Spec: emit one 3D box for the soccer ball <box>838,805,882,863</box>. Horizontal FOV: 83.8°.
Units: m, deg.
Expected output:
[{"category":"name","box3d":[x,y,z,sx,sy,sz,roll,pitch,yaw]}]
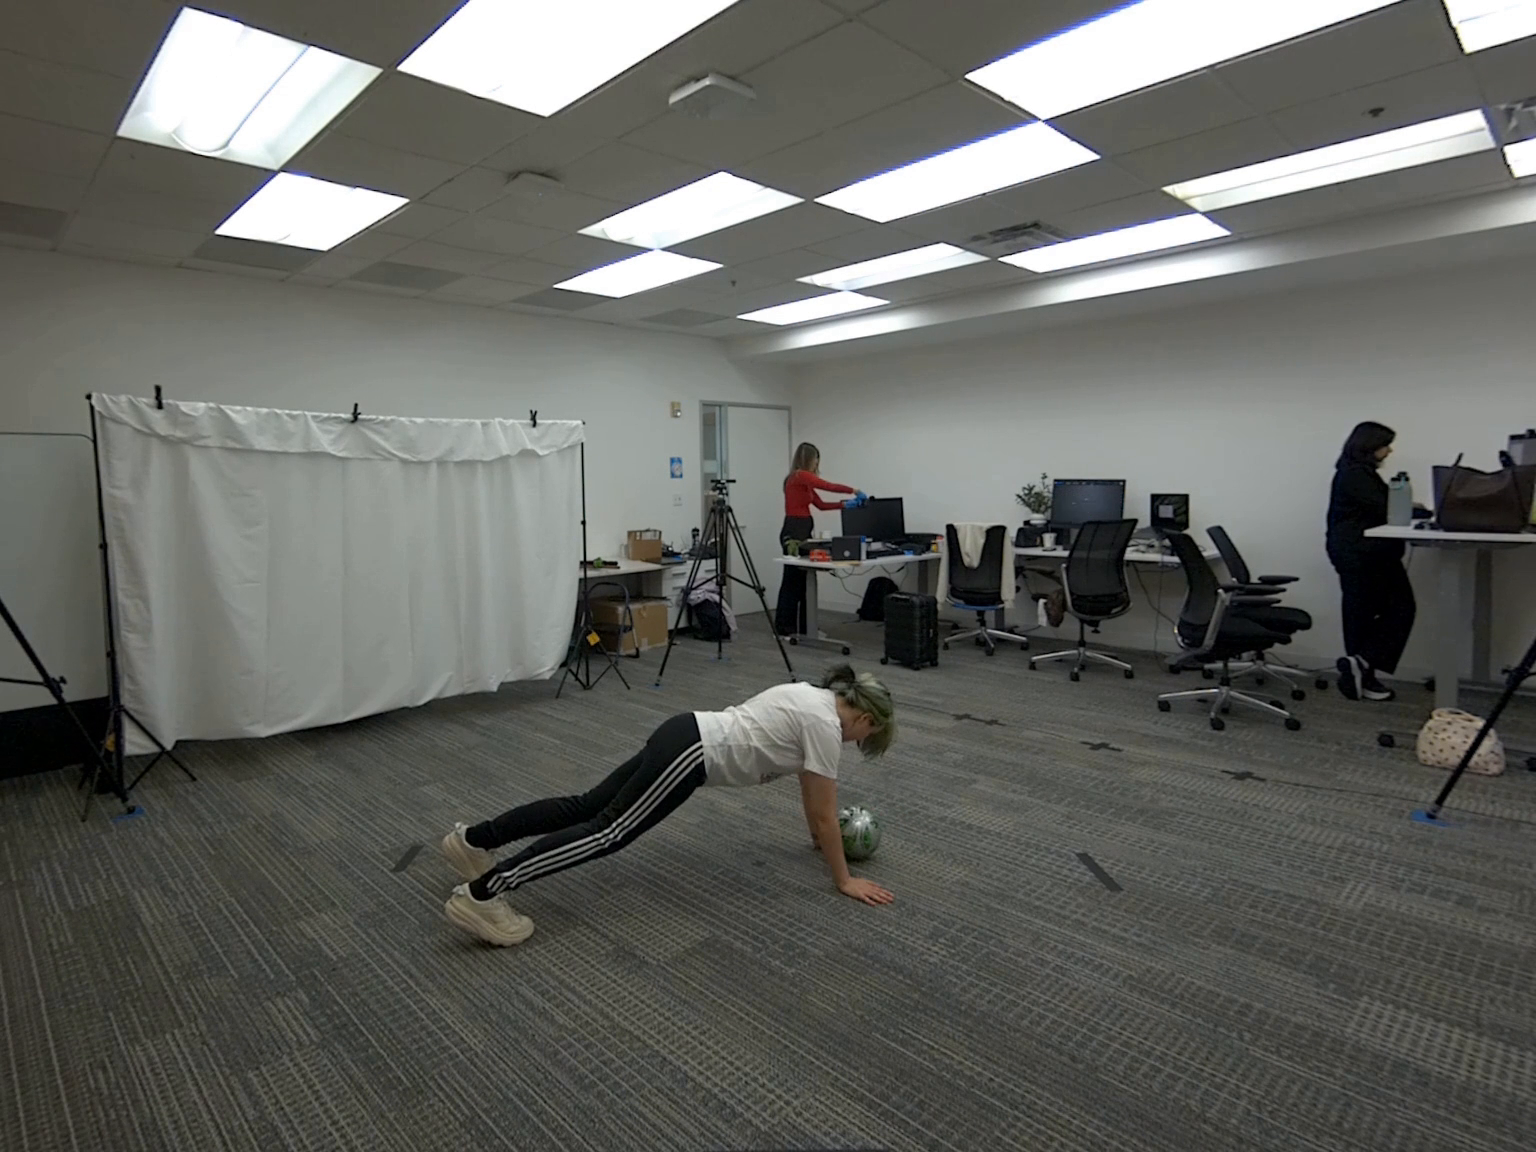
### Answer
[{"category":"soccer ball","box3d":[0.321,0.944,3.141,0.187,0.187,0.188,-1,5,-2]}]
